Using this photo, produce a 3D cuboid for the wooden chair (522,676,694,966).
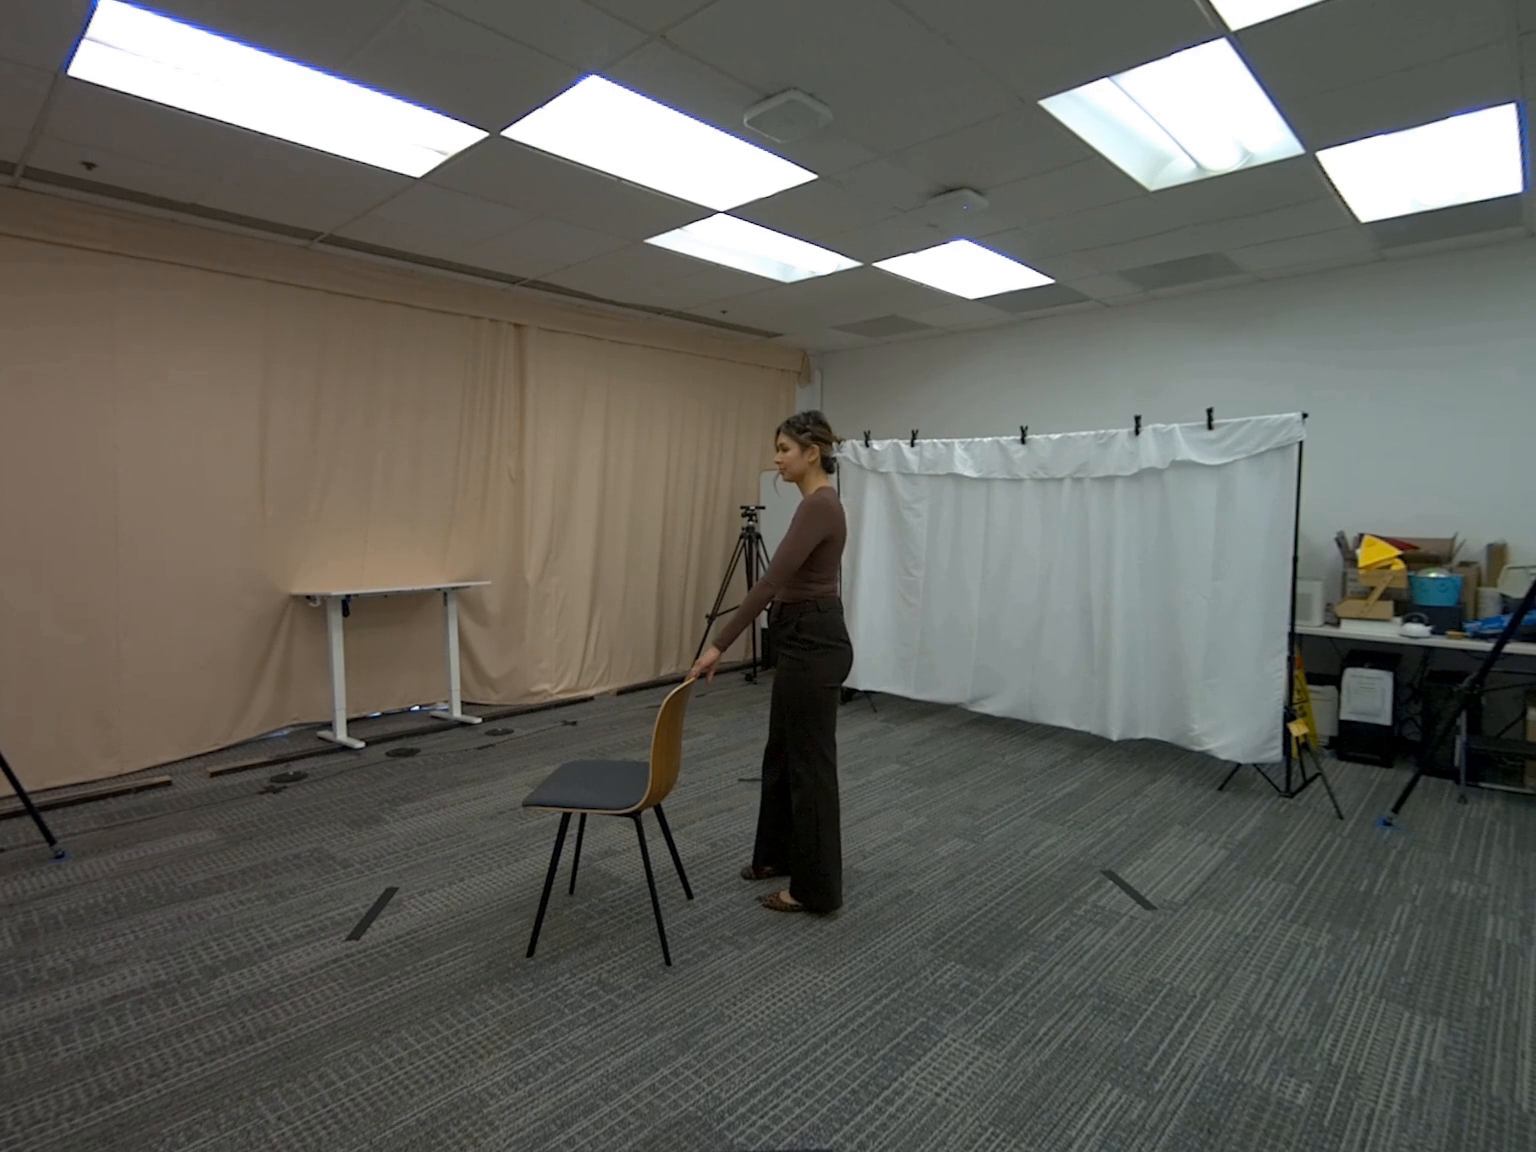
[{"bbox_3d":[-0.515,0.739,2.765,0.527,0.875,0.476,4,4,5],"label":"wooden chair"}]
